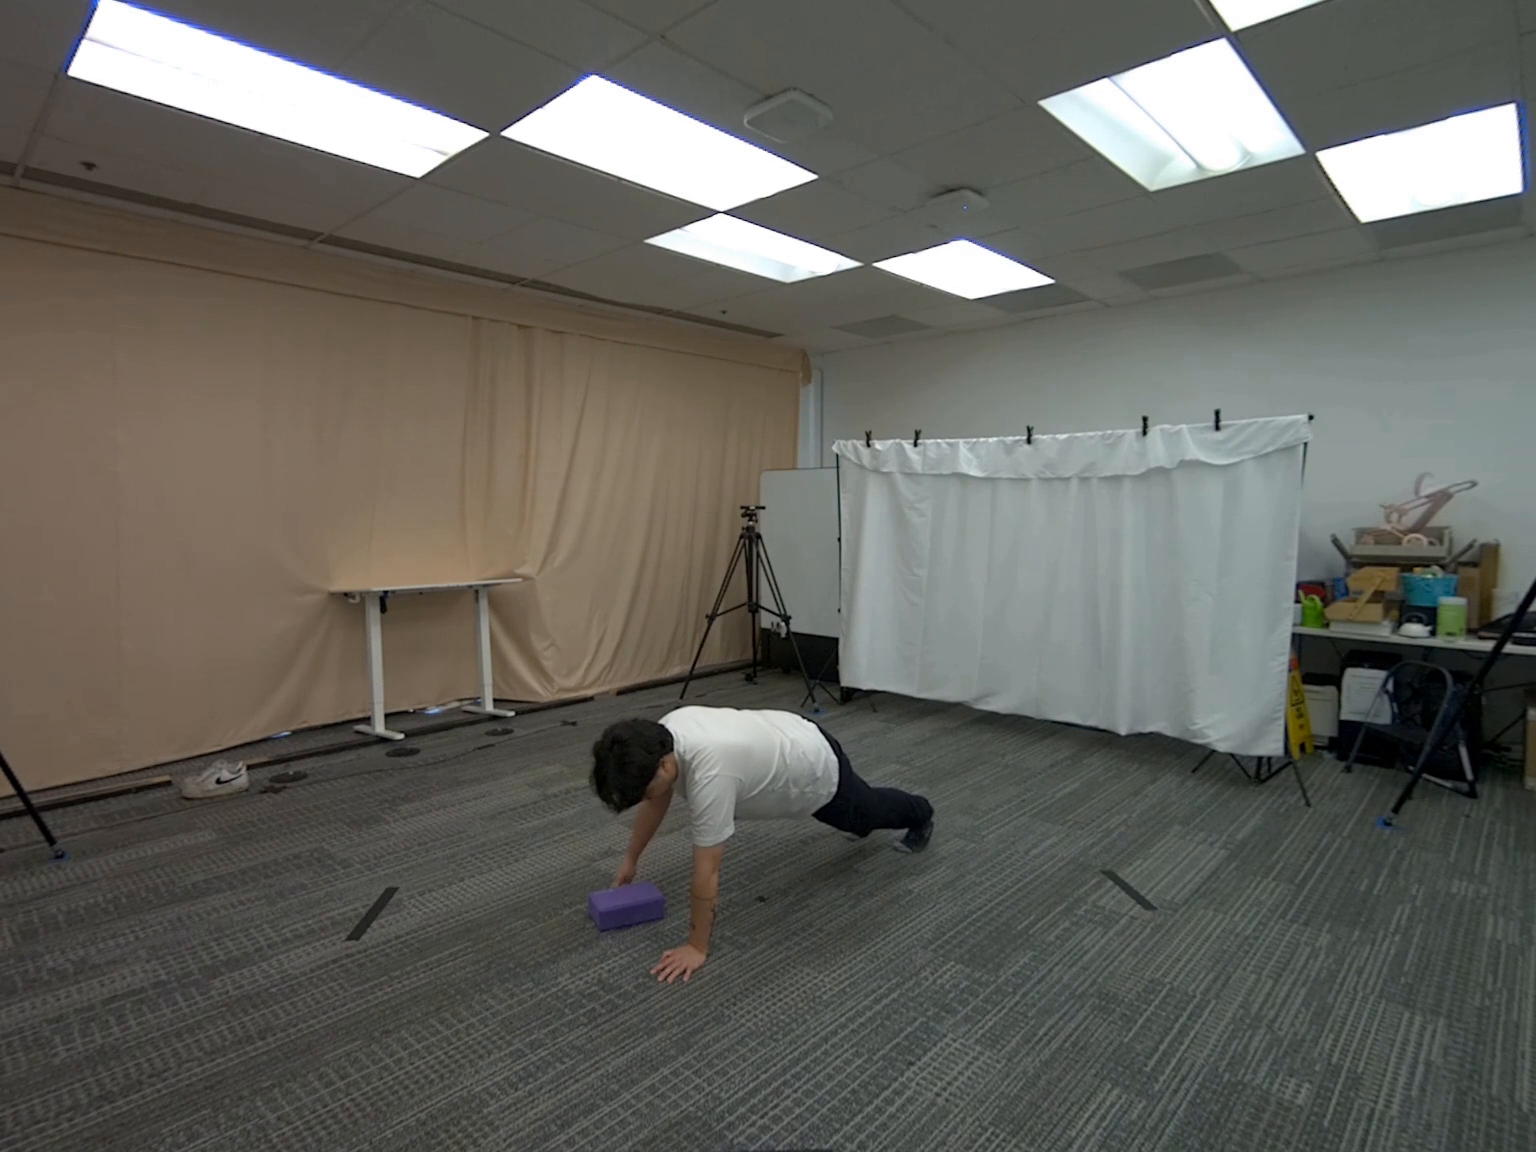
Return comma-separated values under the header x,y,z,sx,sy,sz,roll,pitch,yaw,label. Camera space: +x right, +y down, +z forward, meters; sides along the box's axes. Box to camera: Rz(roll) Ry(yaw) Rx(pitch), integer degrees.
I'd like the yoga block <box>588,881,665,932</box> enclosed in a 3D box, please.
x,y,z,sx,sy,sz,roll,pitch,yaw,label
-0.474,1.113,2.861,0.224,0.076,0.153,-4,5,-25,yoga block
